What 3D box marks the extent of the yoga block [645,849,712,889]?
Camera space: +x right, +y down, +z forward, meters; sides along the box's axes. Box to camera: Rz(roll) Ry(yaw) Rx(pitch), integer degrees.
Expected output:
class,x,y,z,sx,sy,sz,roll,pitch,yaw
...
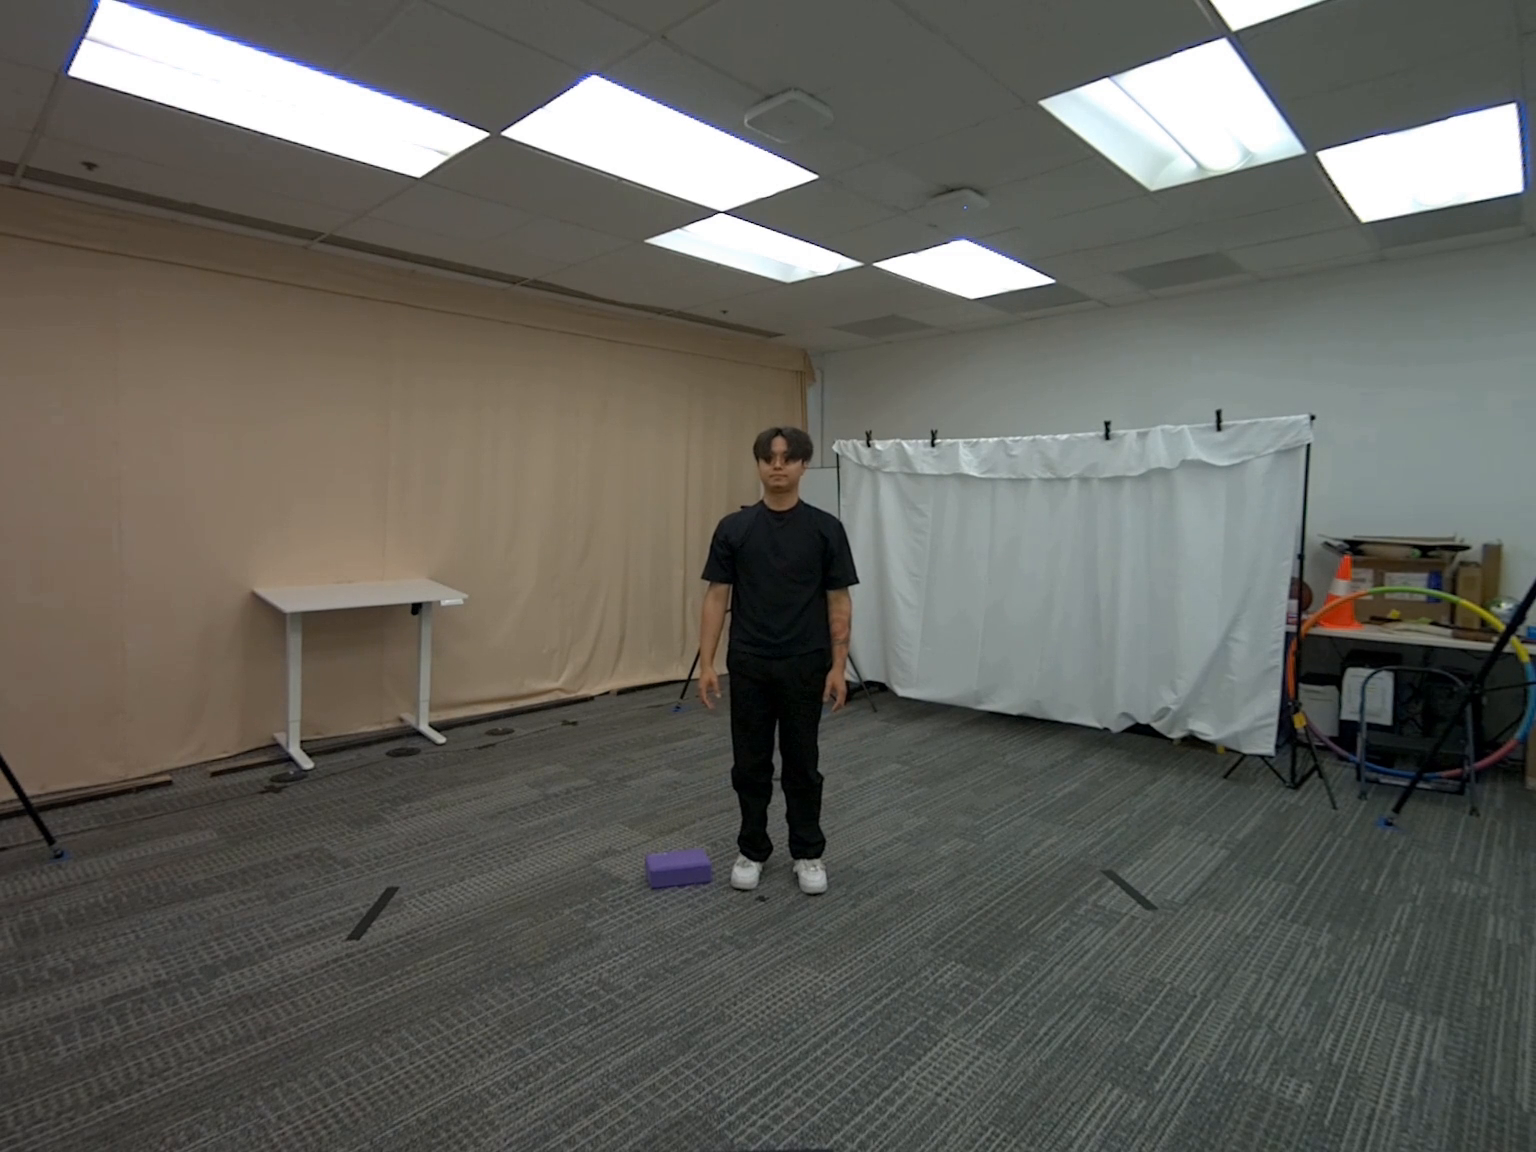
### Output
class,x,y,z,sx,sy,sz,roll,pitch,yaw
yoga block,-0.333,1.096,3.153,0.226,0.076,0.152,0,5,-15
